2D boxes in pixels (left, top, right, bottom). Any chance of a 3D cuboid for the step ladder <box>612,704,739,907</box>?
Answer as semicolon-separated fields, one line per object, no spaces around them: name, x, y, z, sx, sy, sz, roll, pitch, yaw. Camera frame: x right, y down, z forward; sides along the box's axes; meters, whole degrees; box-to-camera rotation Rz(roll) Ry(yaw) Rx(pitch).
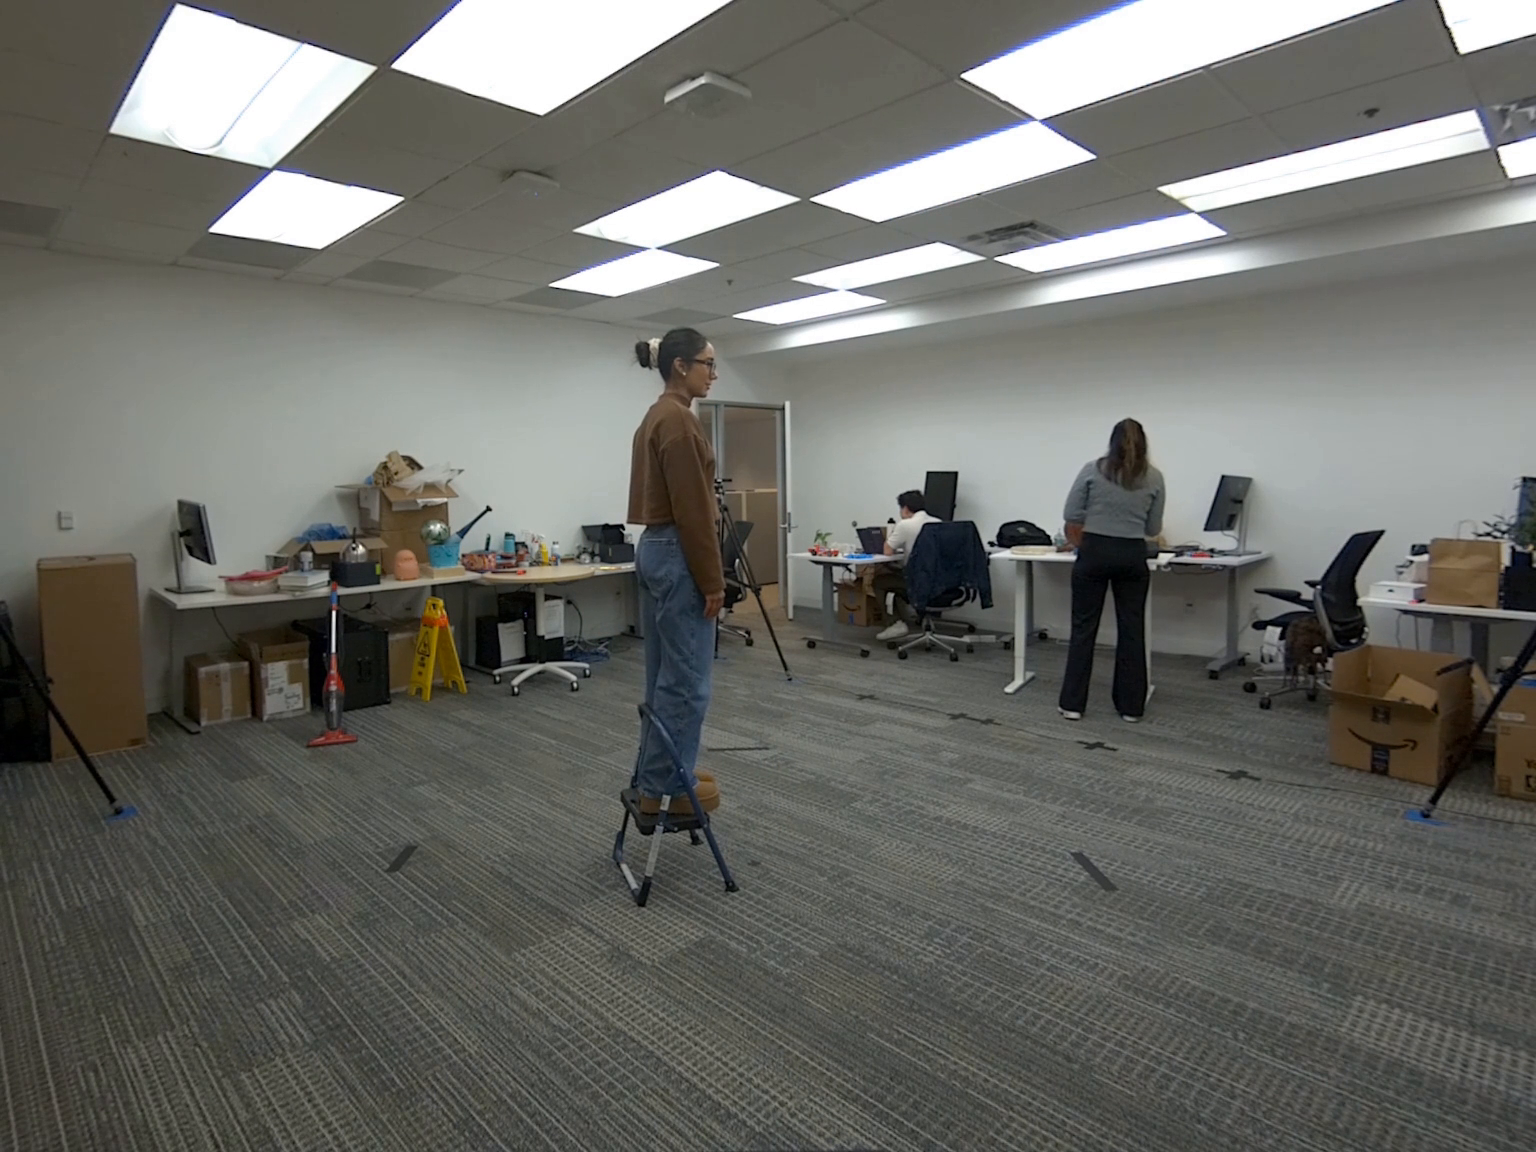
step ladder;-0.347;0.760;3.027;0.343;0.604;0.440;-2;5;-22
